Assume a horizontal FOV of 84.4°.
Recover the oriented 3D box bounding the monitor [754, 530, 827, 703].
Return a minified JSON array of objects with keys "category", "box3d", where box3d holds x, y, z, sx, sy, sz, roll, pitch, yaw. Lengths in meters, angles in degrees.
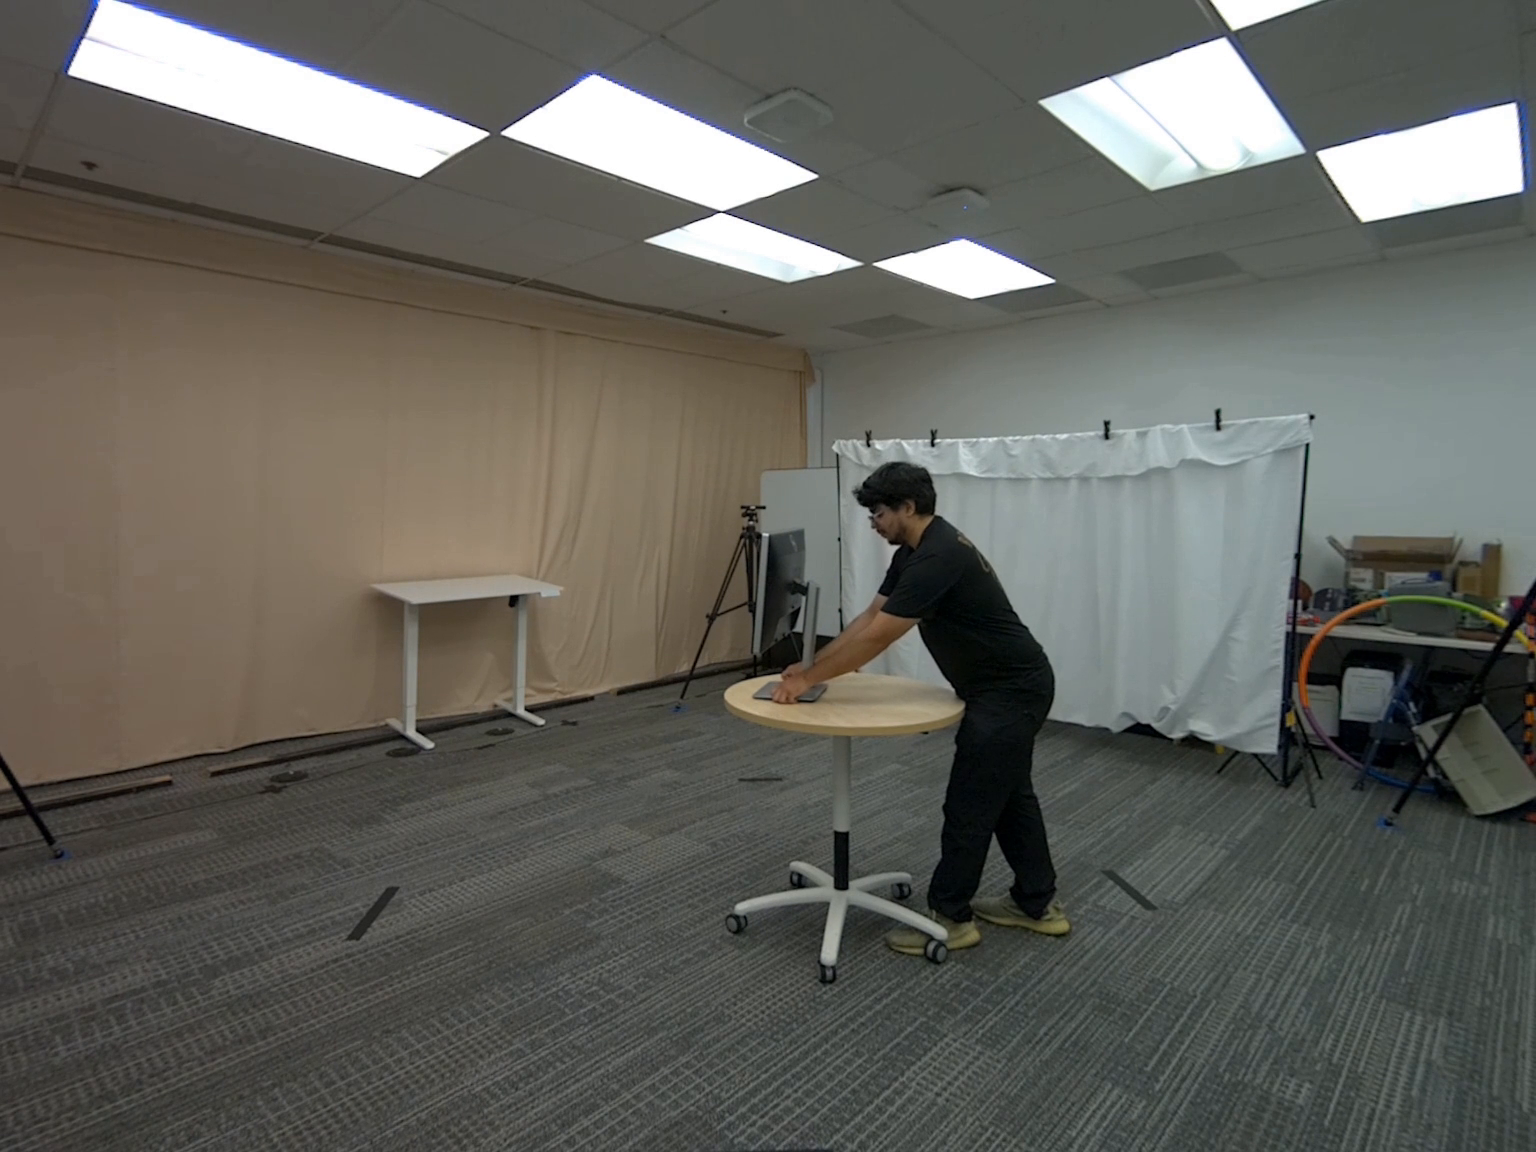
[{"category":"monitor","box3d":[0.106,0.123,2.741,0.213,0.553,0.558,2,4,13]}]
